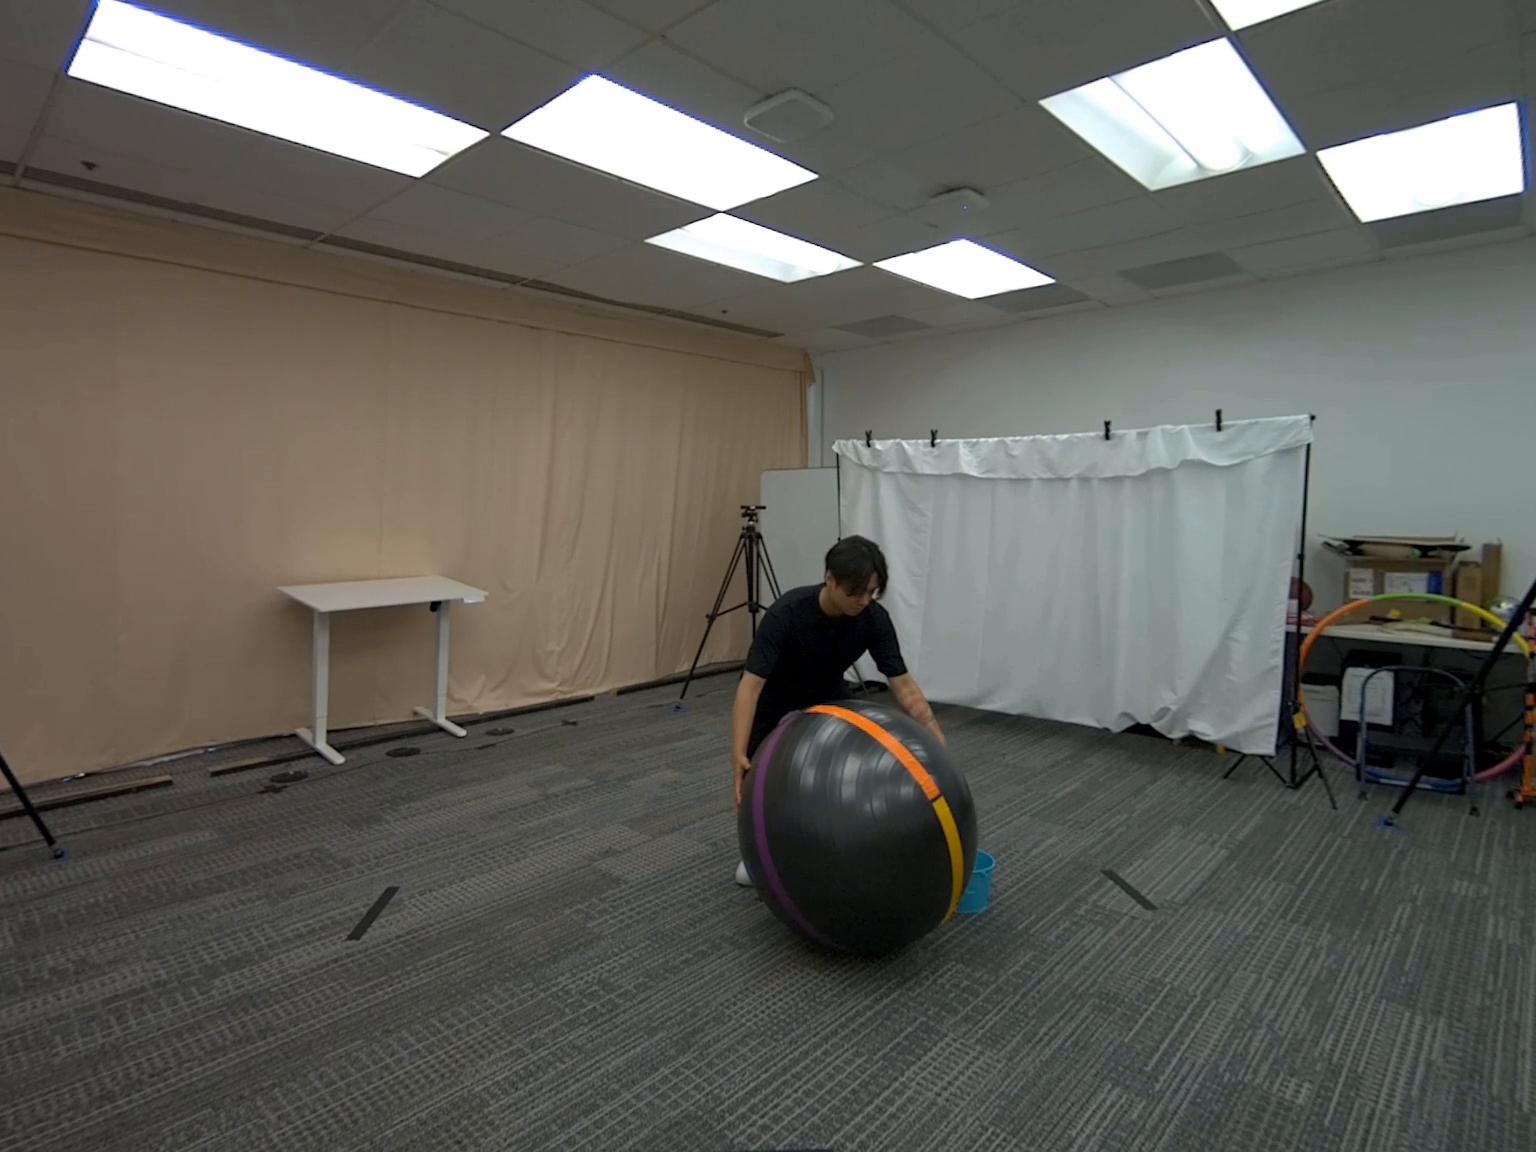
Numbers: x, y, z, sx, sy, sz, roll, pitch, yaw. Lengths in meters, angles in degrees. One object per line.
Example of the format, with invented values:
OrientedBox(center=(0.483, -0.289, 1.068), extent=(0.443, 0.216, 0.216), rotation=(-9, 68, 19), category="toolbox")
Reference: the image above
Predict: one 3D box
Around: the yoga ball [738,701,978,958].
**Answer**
OrientedBox(center=(0.285, 0.789, 2.683), extent=(0.757, 0.756, 0.760), rotation=(0, 4, -2), category="yoga ball")
